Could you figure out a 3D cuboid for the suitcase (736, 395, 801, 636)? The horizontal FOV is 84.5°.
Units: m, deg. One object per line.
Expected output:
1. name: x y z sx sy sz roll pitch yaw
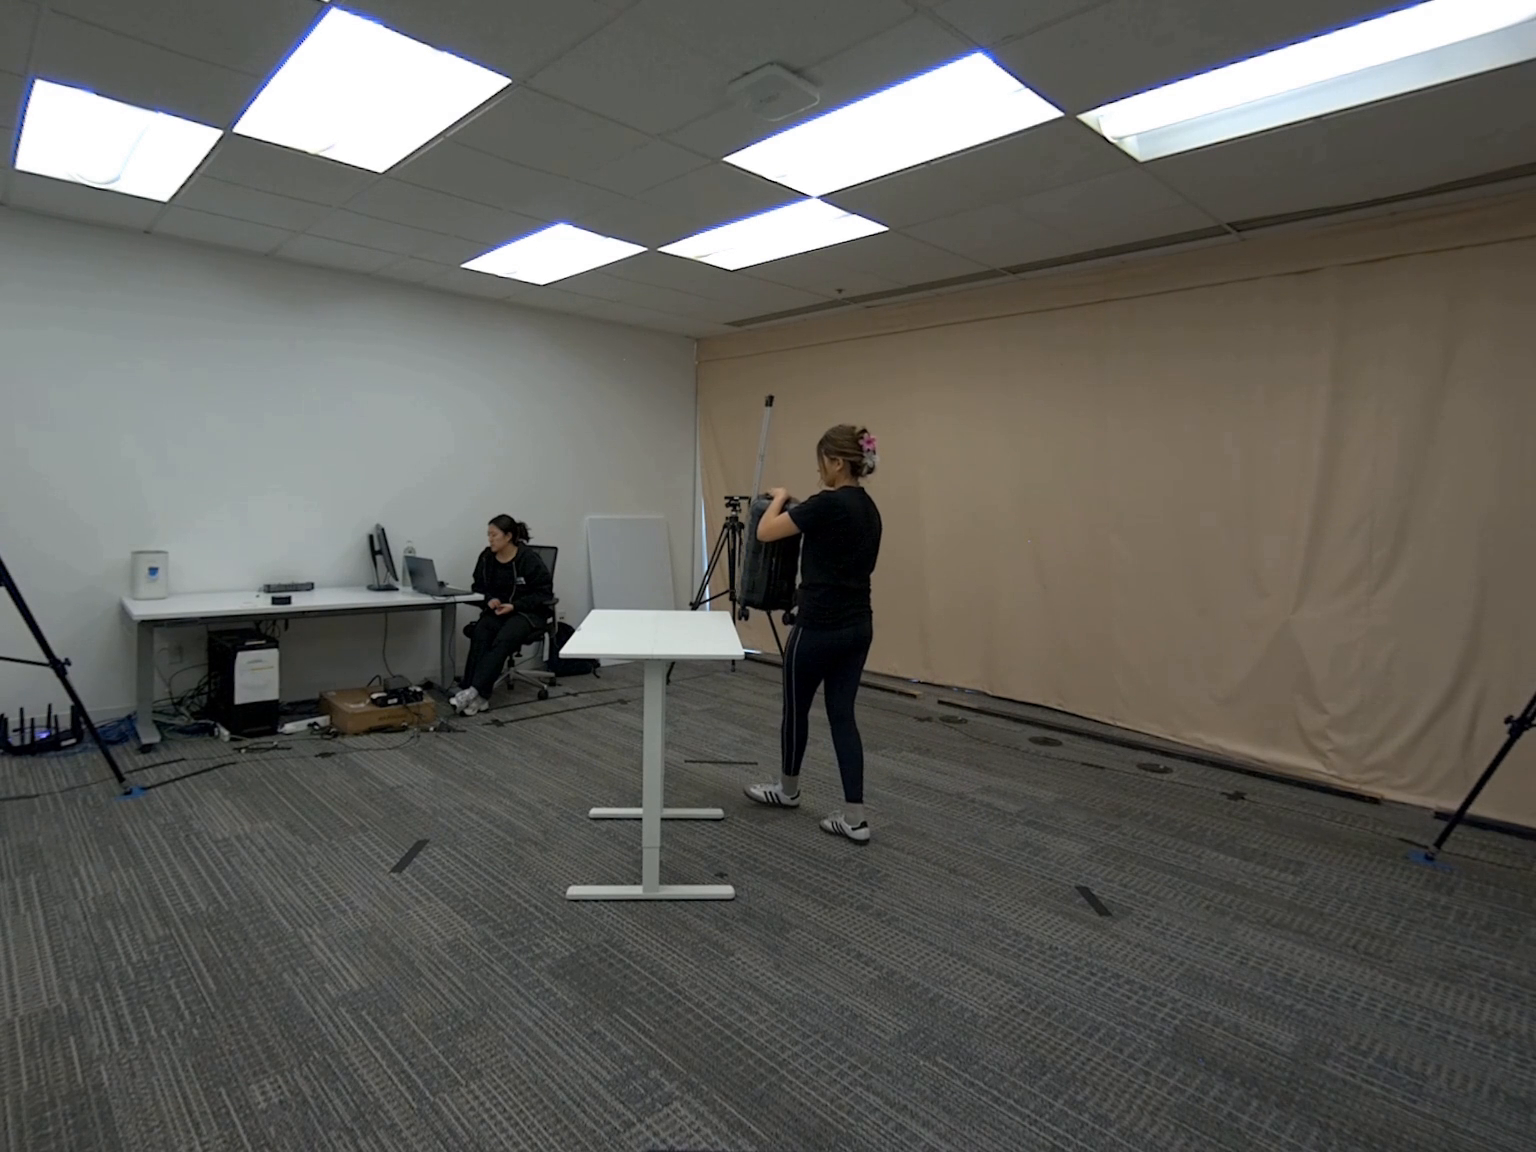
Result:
1. suitcase: 0.031 -0.306 3.786 0.257 0.974 0.386 8 8 -2
